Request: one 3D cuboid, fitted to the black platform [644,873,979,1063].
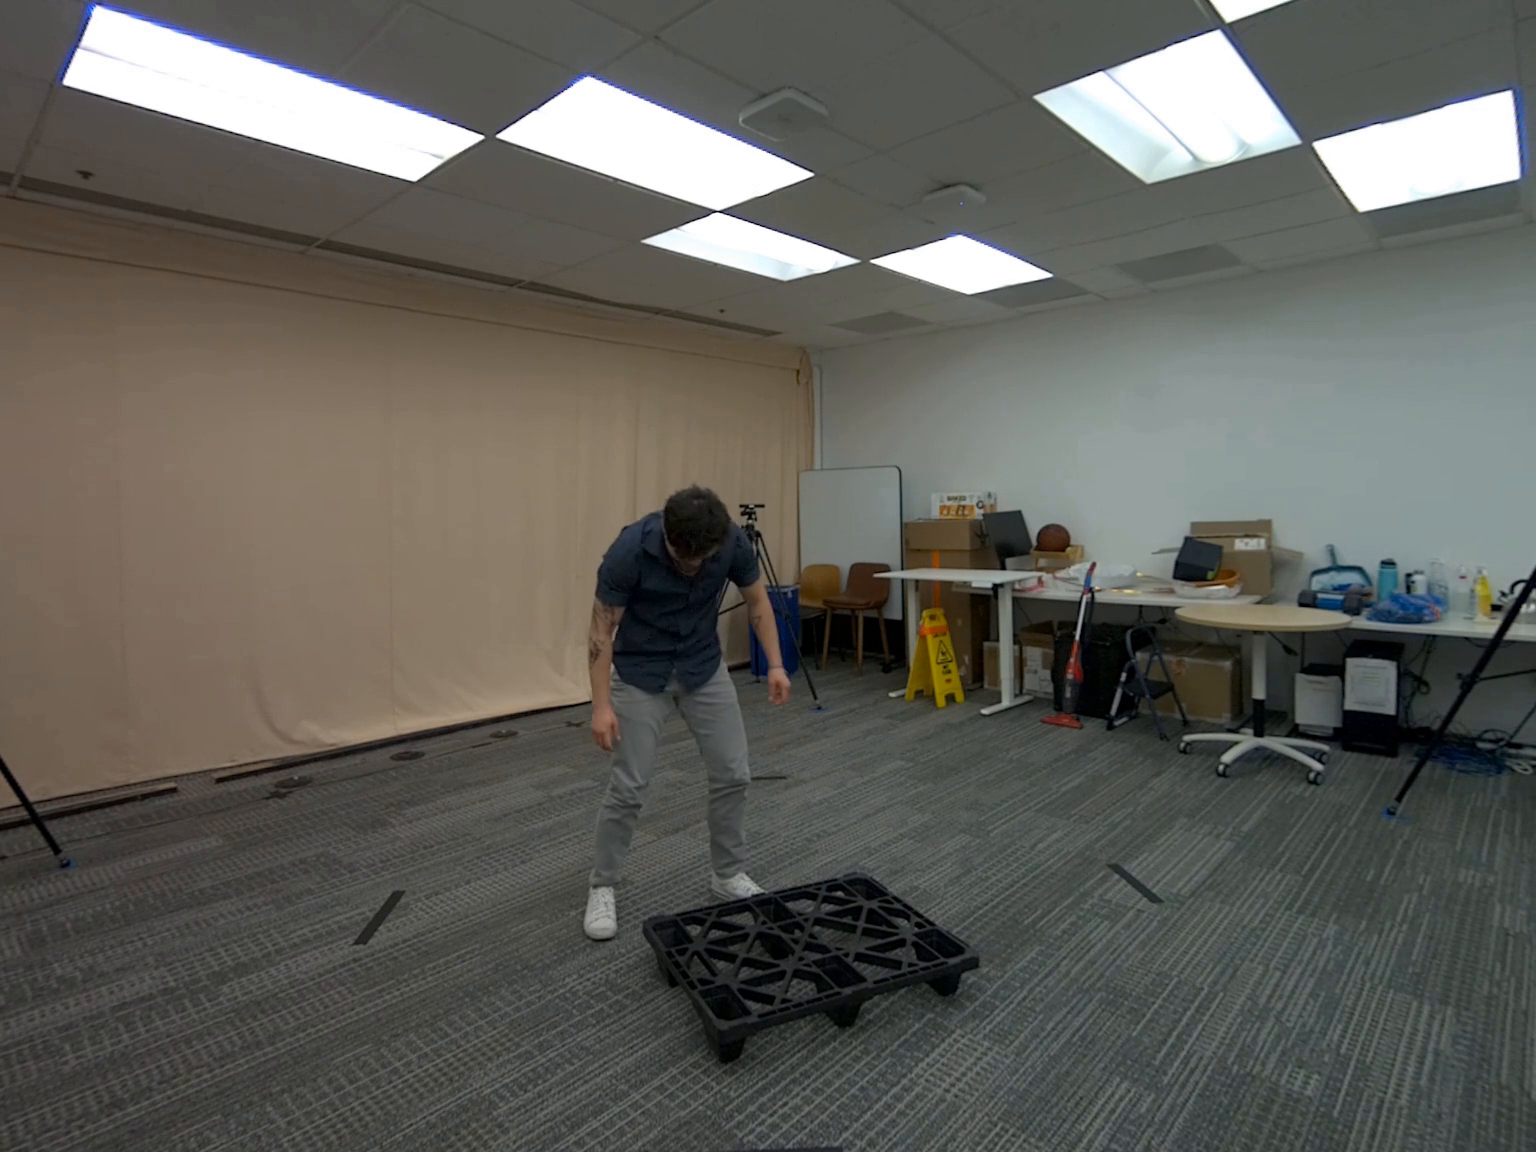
[{"bbox_3d":[0.113,1.117,2.448,0.787,0.143,0.621,-3,6,-25],"label":"black platform"}]
